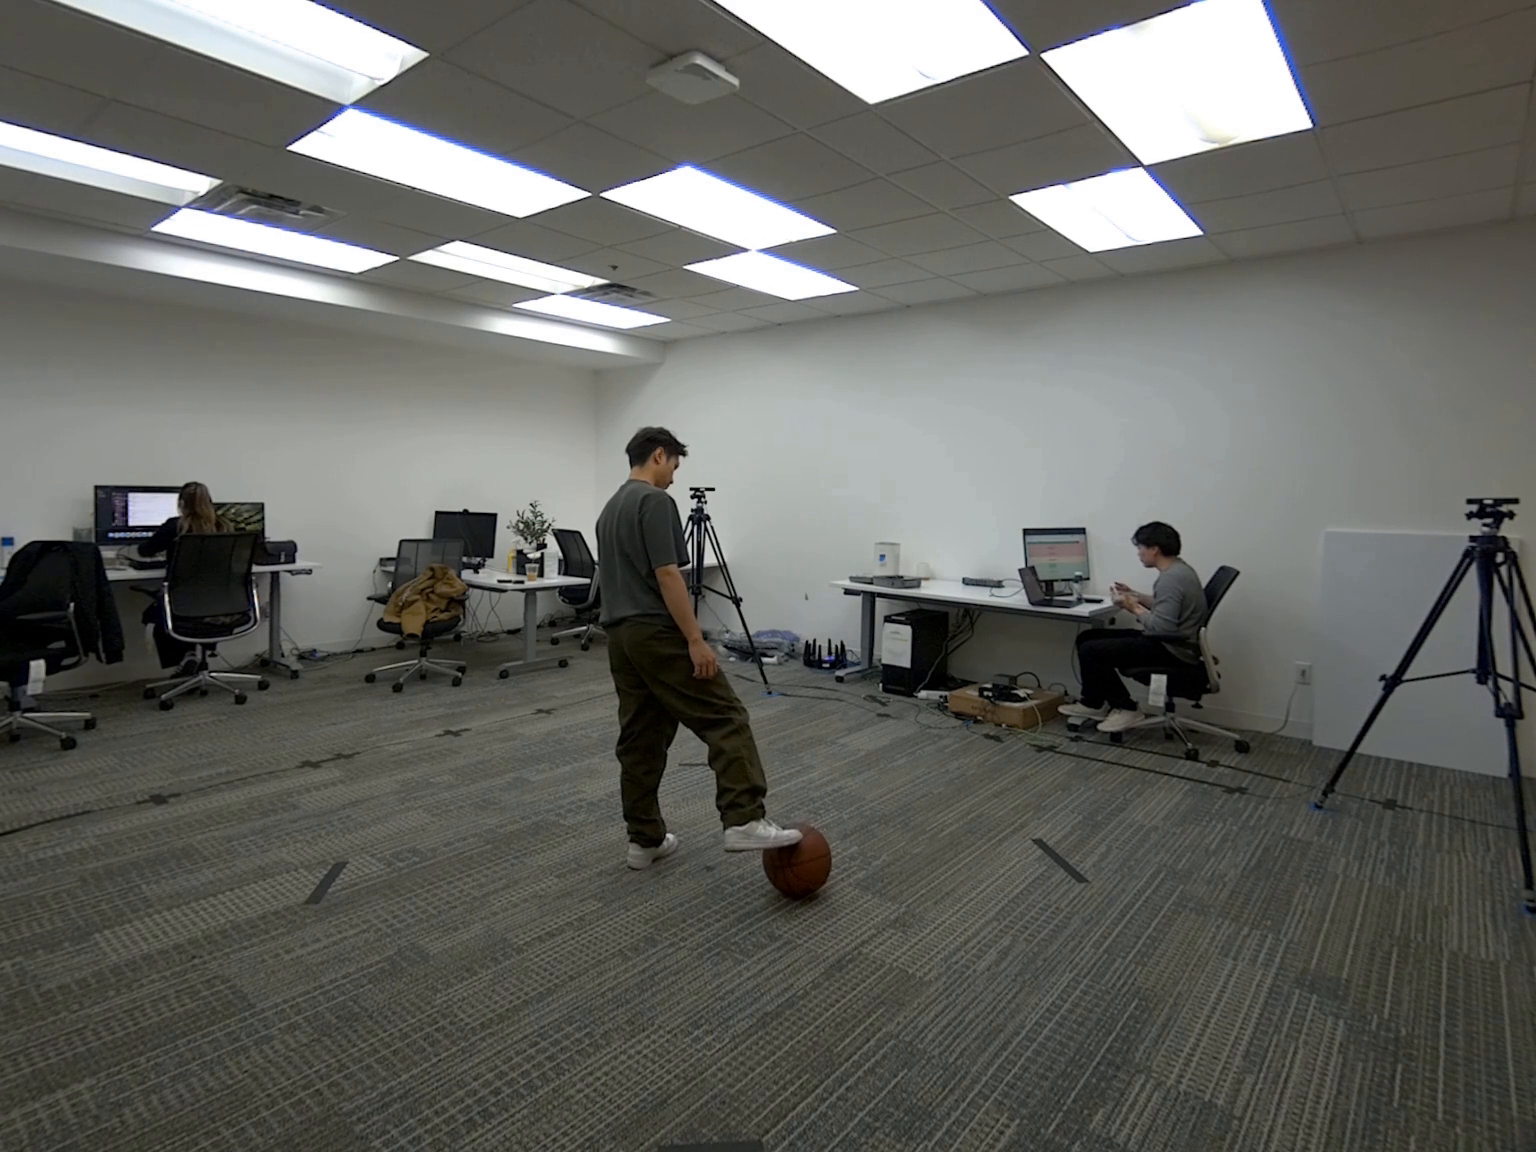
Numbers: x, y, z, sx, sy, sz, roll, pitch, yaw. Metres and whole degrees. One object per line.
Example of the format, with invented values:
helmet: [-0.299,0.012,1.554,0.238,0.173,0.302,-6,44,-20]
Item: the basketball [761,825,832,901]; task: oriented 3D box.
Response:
basketball: [0.087,0.969,2.932,0.235,0.235,0.237,1,4,-2]
